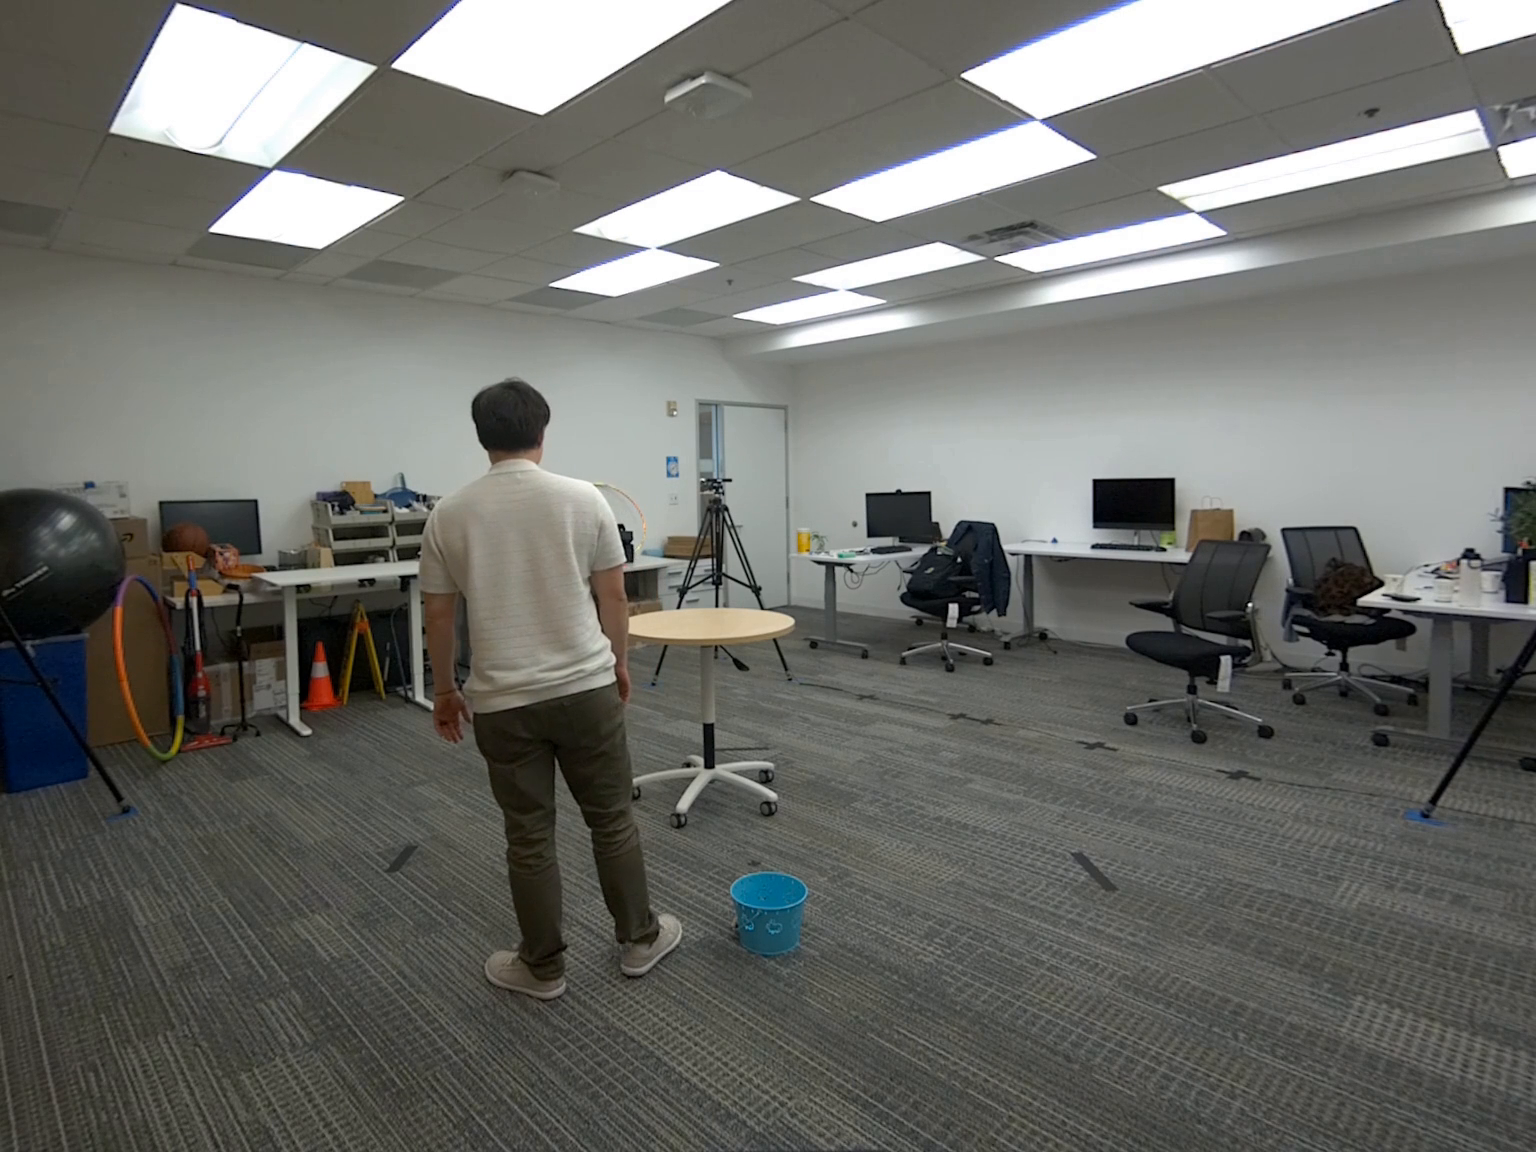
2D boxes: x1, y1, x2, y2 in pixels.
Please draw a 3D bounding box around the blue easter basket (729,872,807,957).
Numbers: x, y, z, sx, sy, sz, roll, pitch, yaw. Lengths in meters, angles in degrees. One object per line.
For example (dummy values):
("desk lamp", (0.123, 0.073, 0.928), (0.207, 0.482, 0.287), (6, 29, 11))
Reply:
("blue easter basket", (0.009, 1.025, 2.600), (0.243, 0.155, 0.245), (-1, 6, -2))
